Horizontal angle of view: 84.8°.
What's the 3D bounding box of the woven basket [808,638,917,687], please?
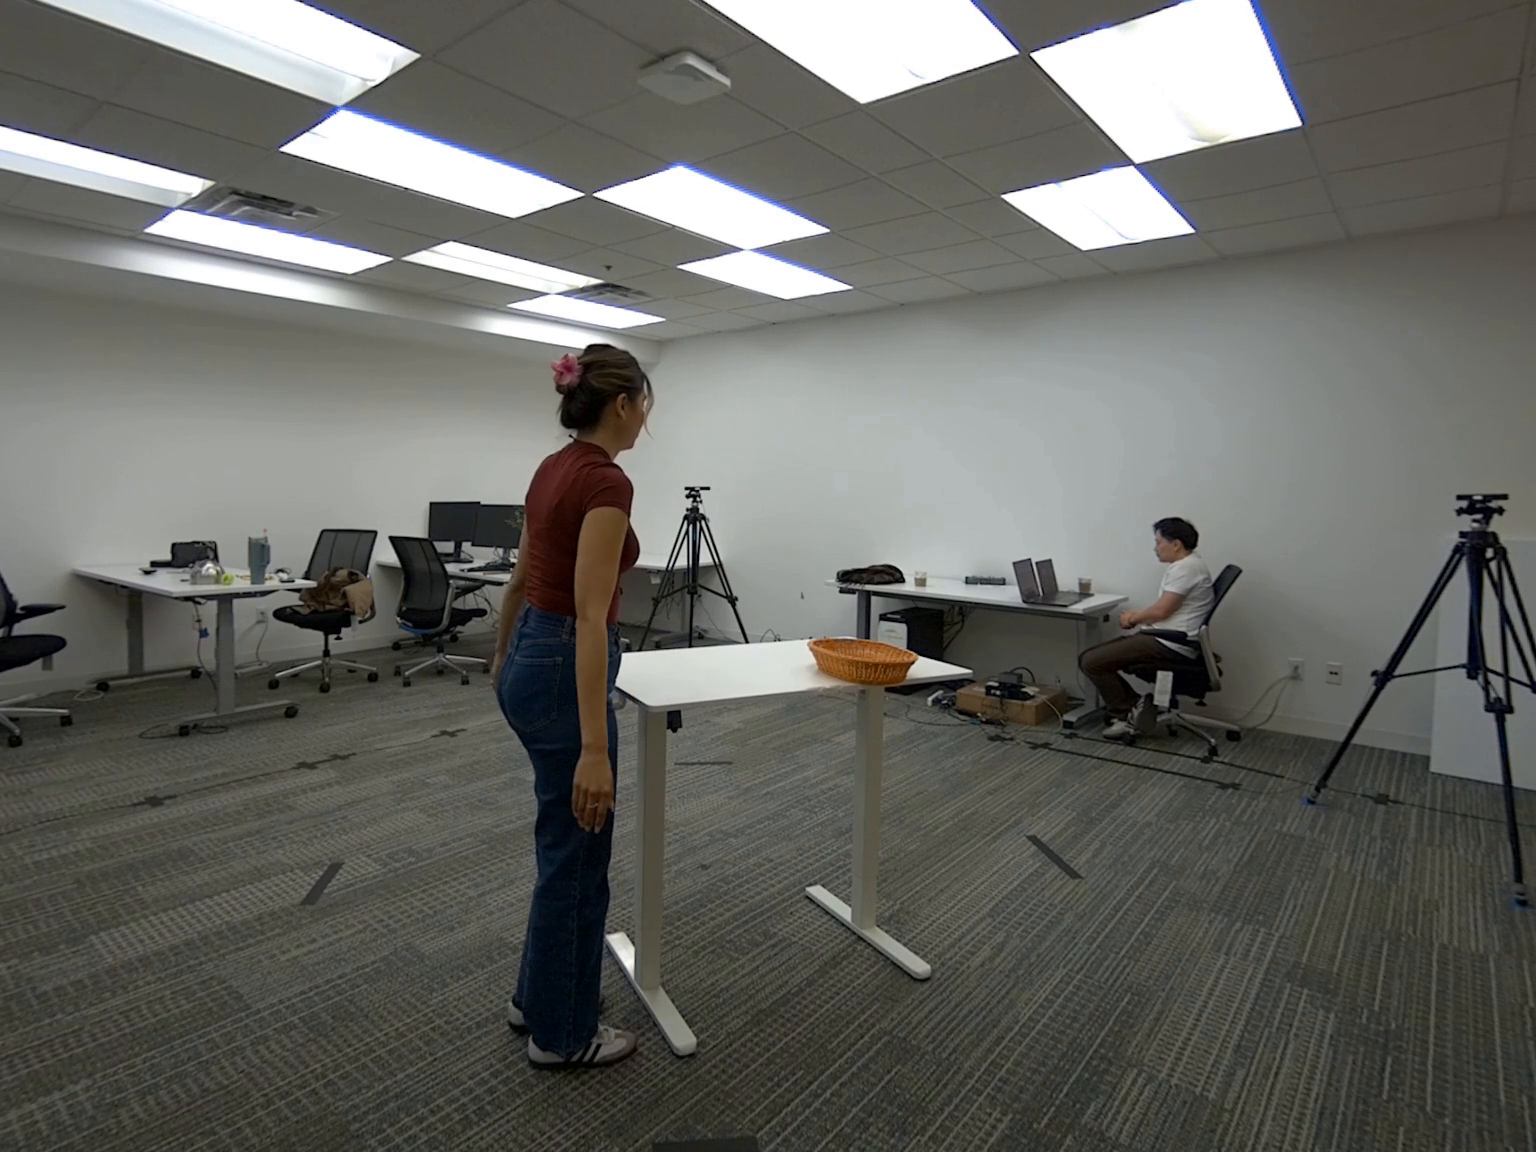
[{"bbox_3d":[0.268,0.241,2.350,0.246,0.073,0.360,-1,6,-24],"label":"woven basket"}]
